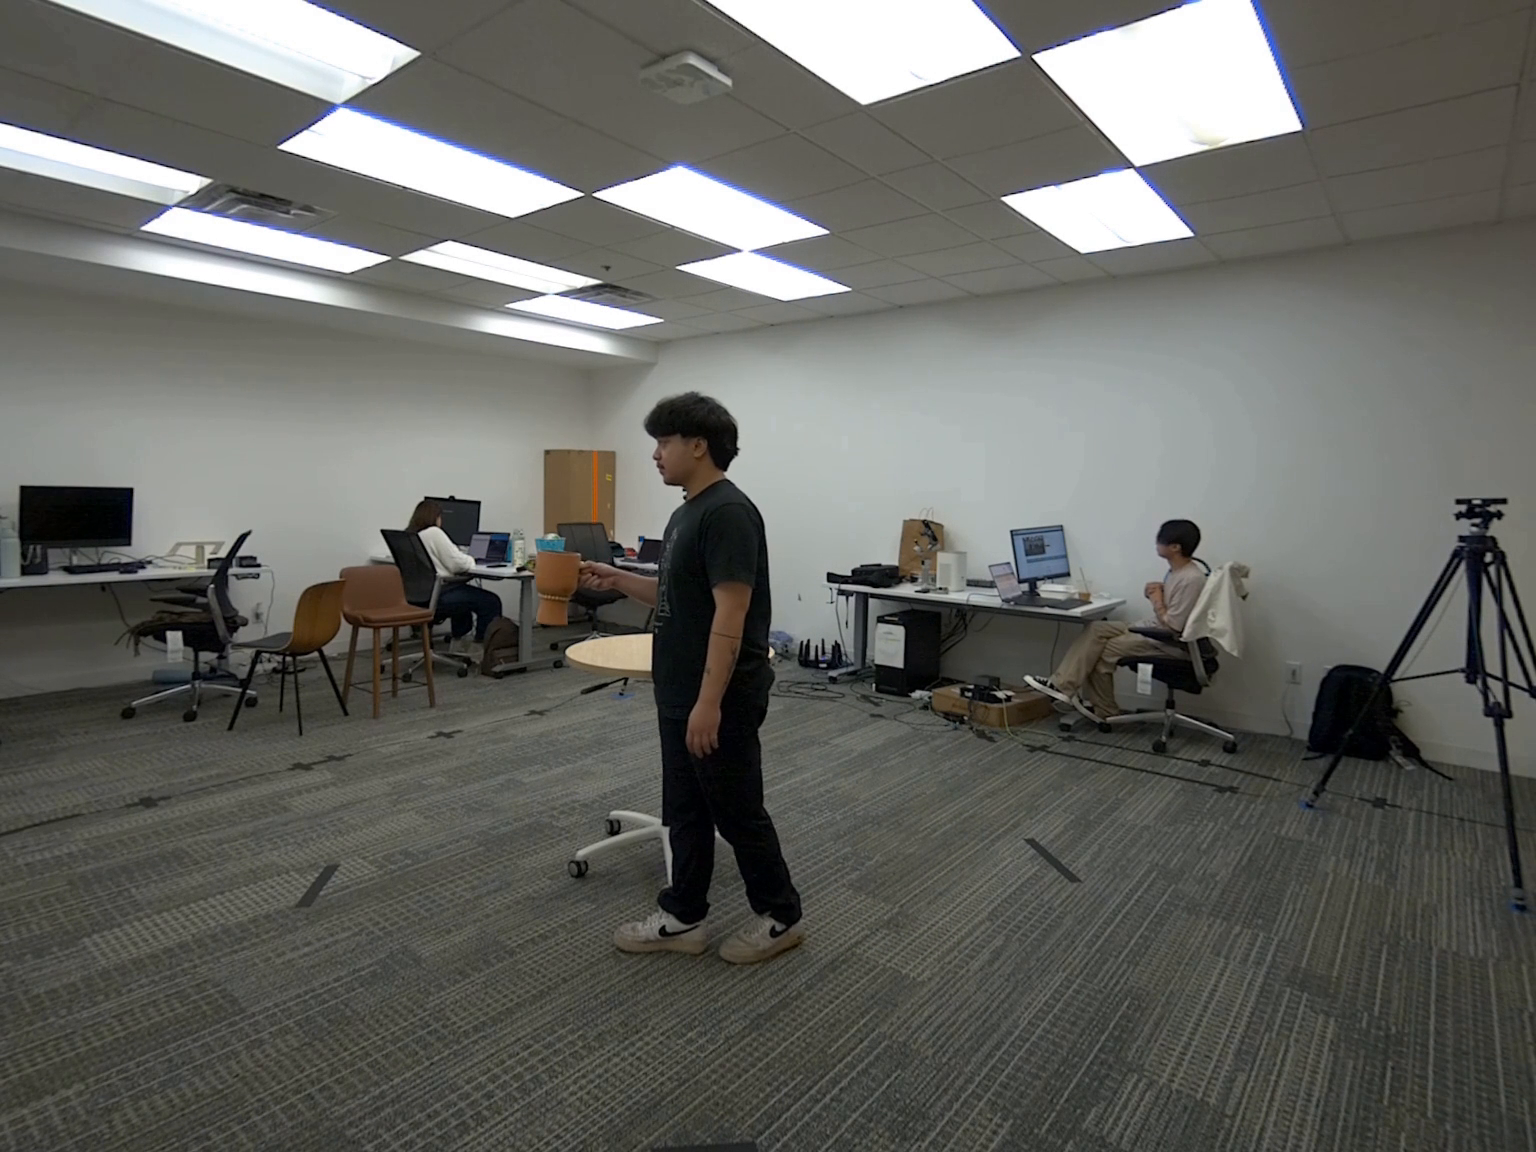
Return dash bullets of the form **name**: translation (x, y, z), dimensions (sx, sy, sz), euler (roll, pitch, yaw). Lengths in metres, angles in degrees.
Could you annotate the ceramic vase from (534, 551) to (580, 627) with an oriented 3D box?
- **ceramic vase**: translation (-0.664, 0.033, 2.620), dimensions (0.163, 0.219, 0.131), euler (7, 2, 28)
